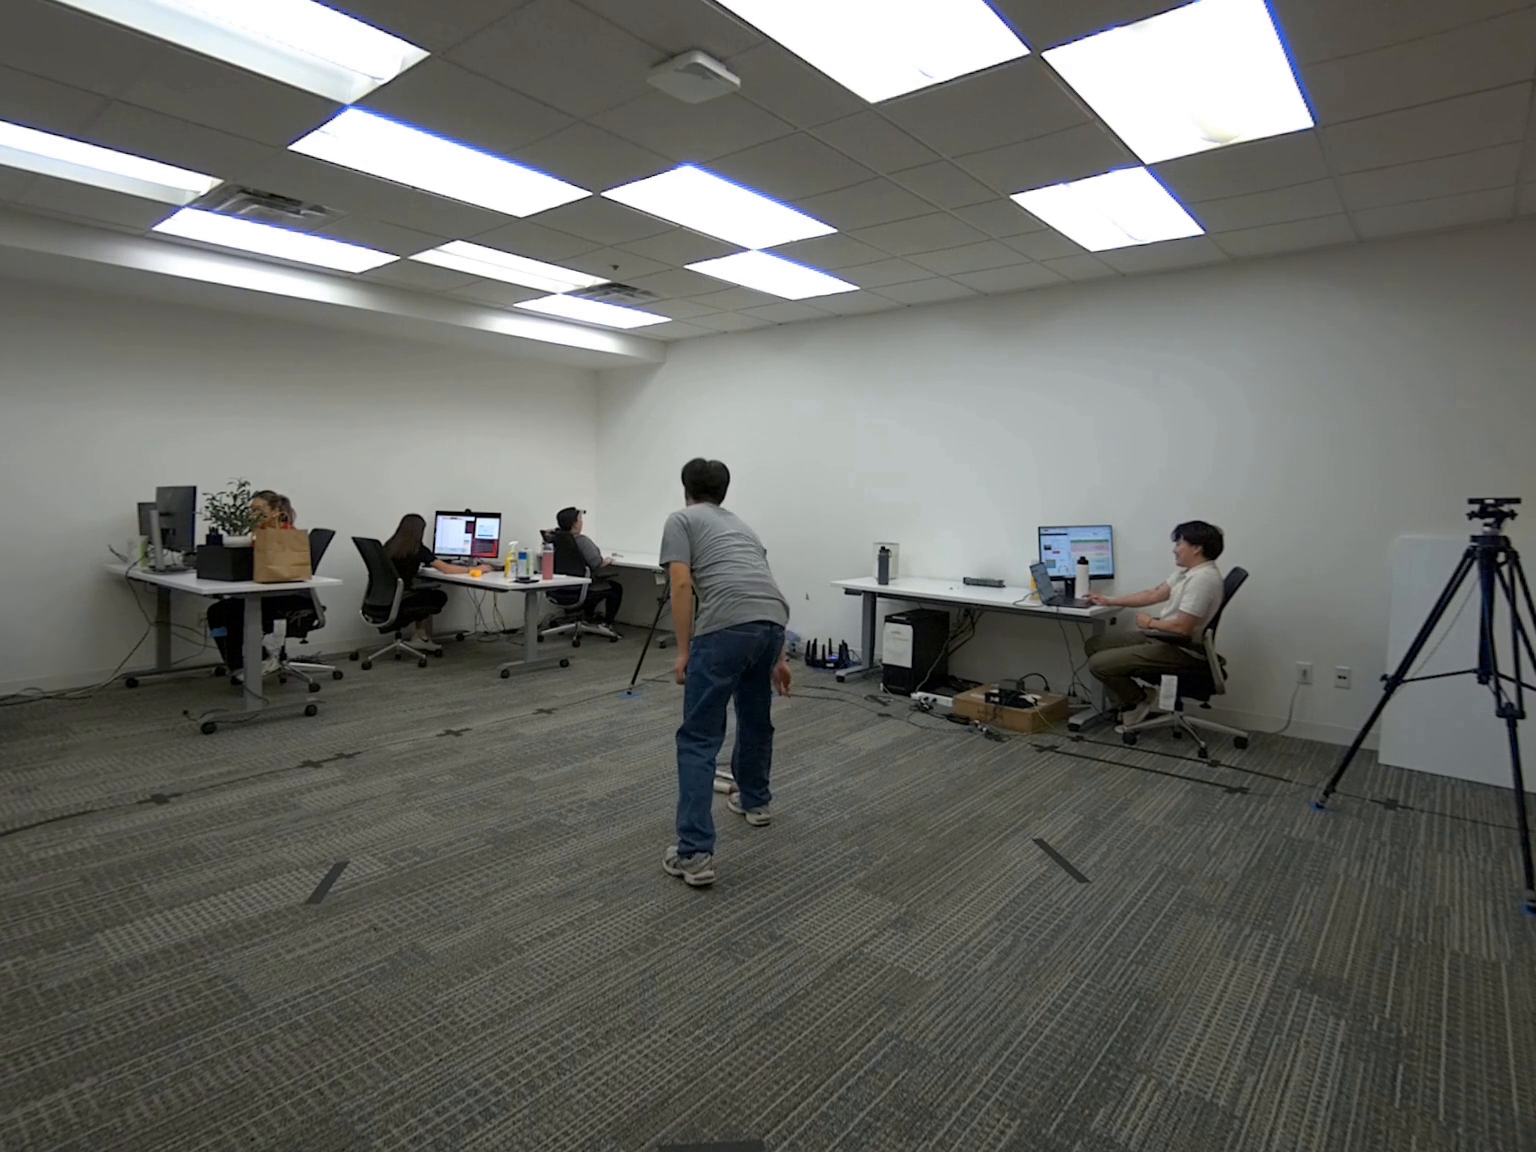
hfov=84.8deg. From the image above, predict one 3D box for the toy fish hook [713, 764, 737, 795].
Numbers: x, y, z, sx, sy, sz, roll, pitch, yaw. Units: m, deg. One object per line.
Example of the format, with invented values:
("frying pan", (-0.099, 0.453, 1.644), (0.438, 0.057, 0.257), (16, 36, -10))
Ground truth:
("toy fish hook", (-0.178, 0.958, 3.939), (0.524, 0.048, 0.218), (7, 9, 44))
